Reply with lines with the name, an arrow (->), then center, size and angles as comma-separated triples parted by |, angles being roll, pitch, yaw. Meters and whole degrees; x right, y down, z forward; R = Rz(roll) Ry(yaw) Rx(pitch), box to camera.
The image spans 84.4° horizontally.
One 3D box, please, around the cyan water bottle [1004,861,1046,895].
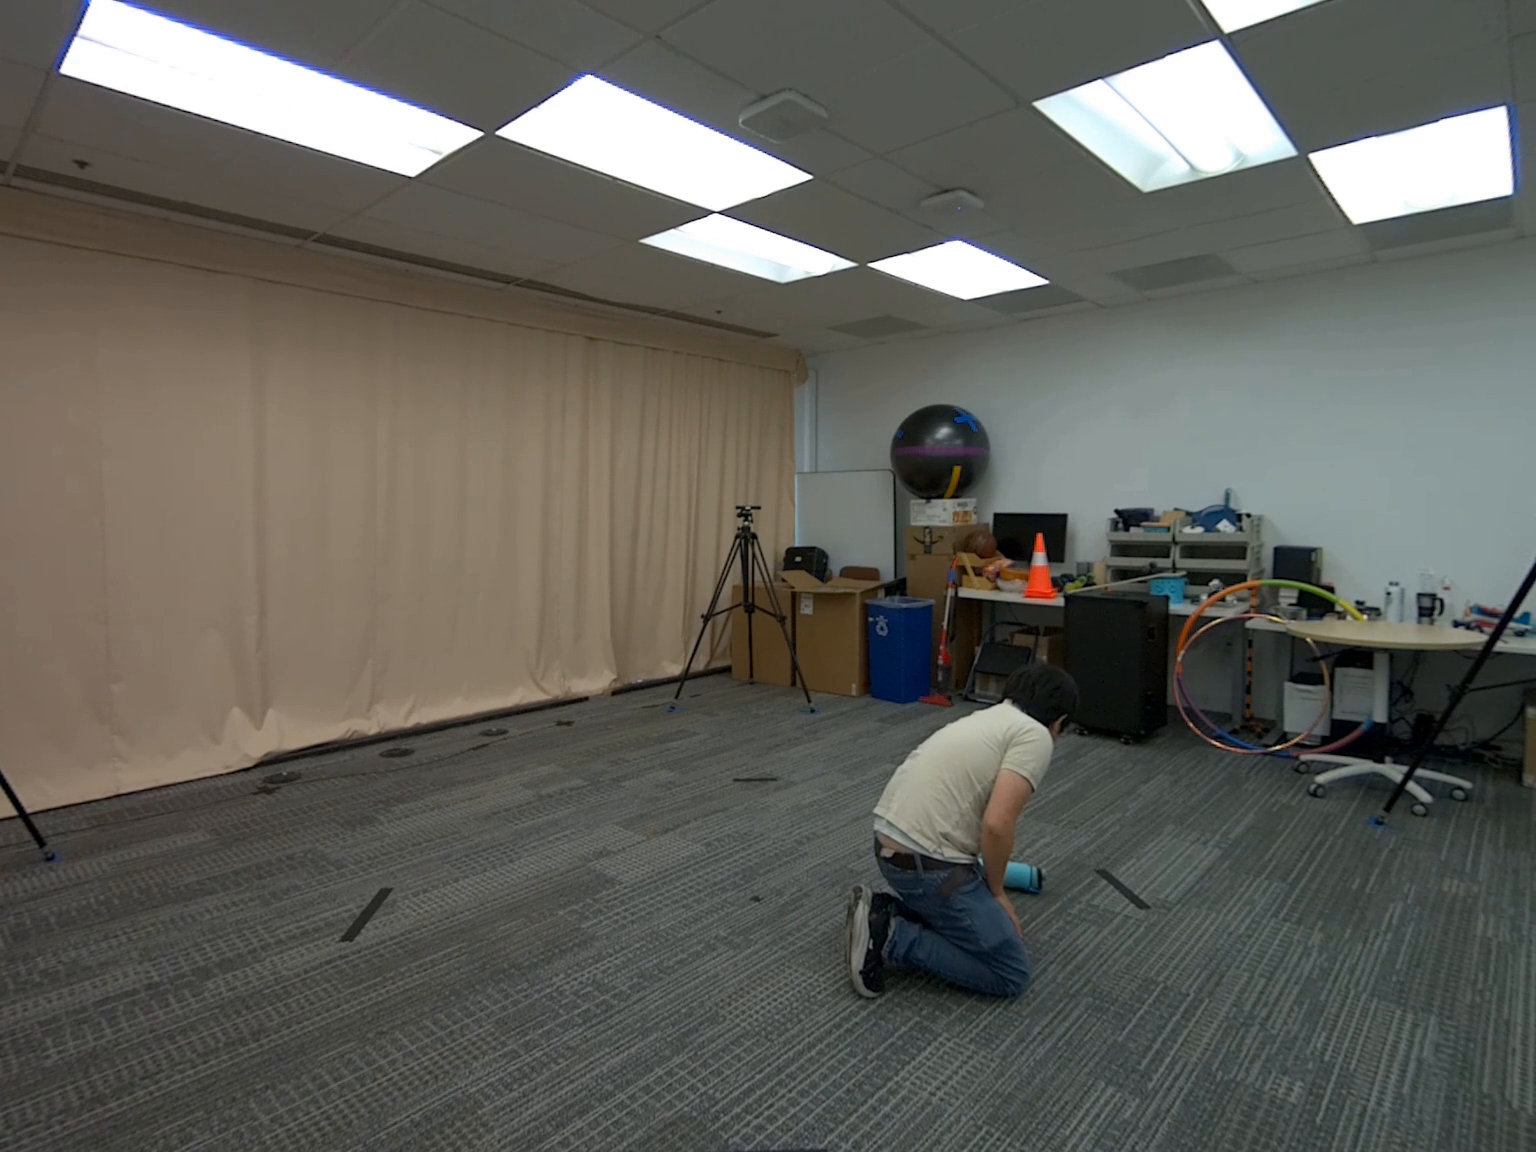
cyan water bottle -> 0.866, 1.086, 3.063 | 0.289, 0.092, 0.090 | 2, 4, 19
